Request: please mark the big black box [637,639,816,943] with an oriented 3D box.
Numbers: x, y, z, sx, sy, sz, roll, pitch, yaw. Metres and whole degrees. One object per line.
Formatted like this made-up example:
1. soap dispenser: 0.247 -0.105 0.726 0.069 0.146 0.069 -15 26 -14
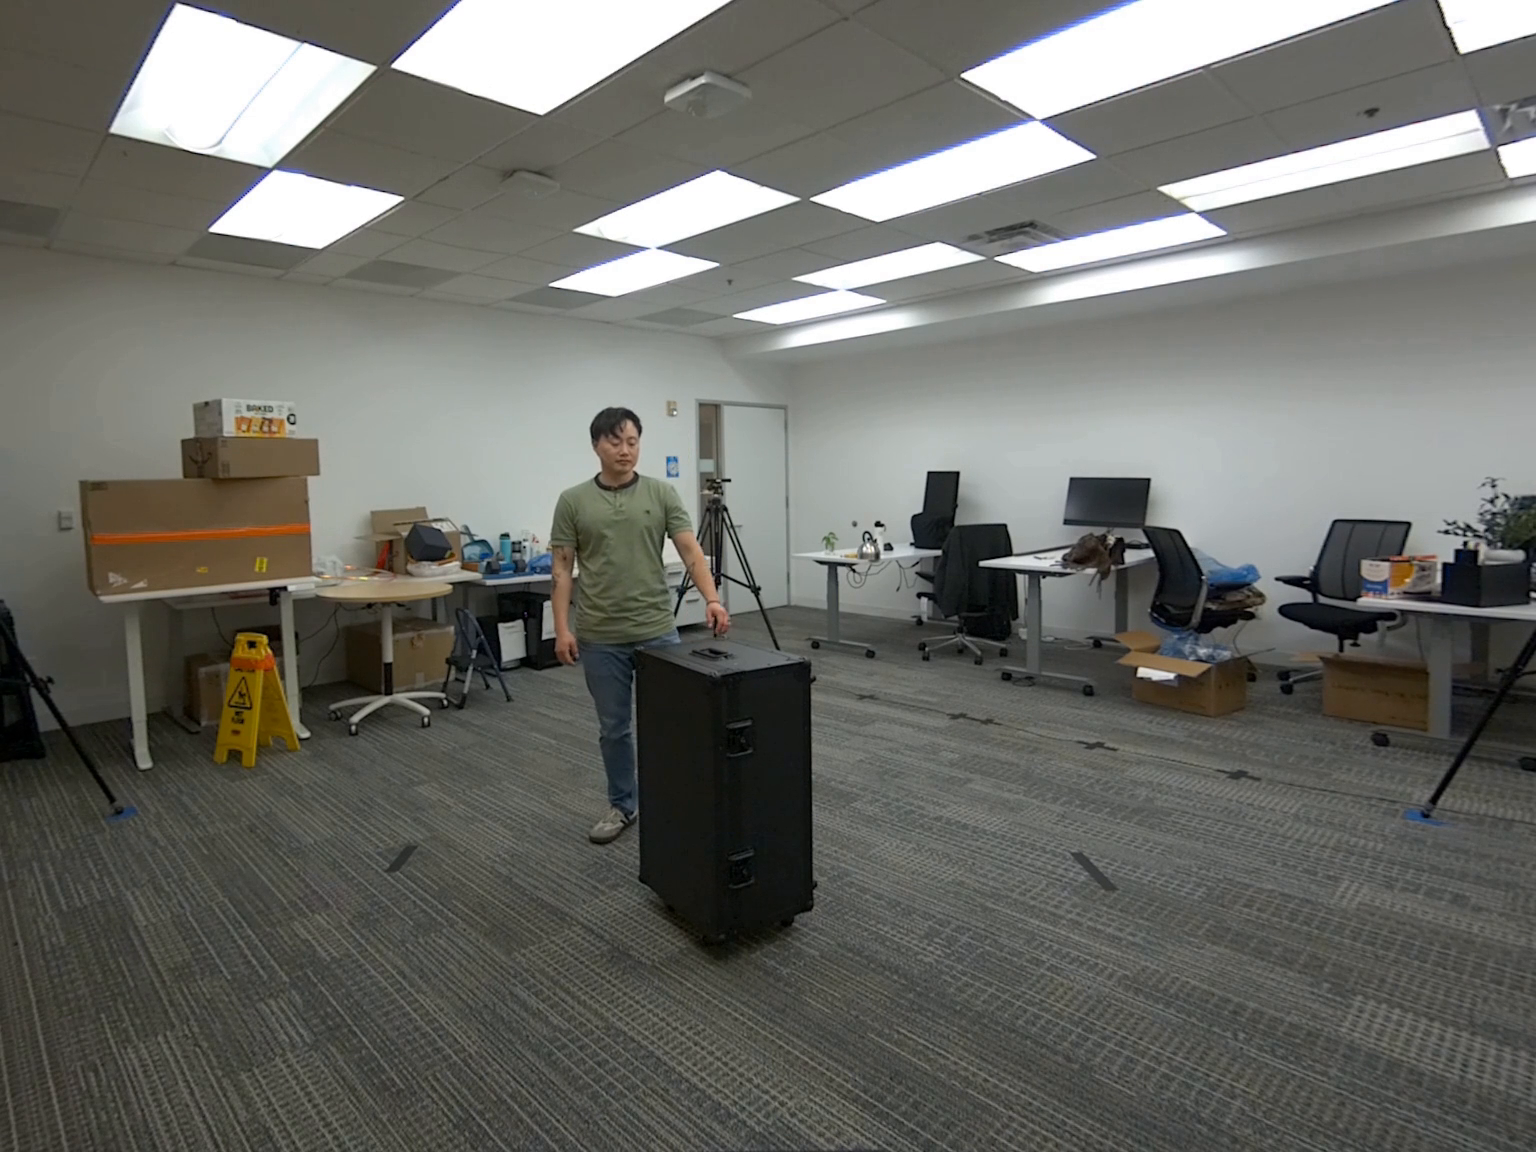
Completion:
1. big black box: -0.140 0.666 2.716 0.386 0.858 0.536 -3 5 -34
